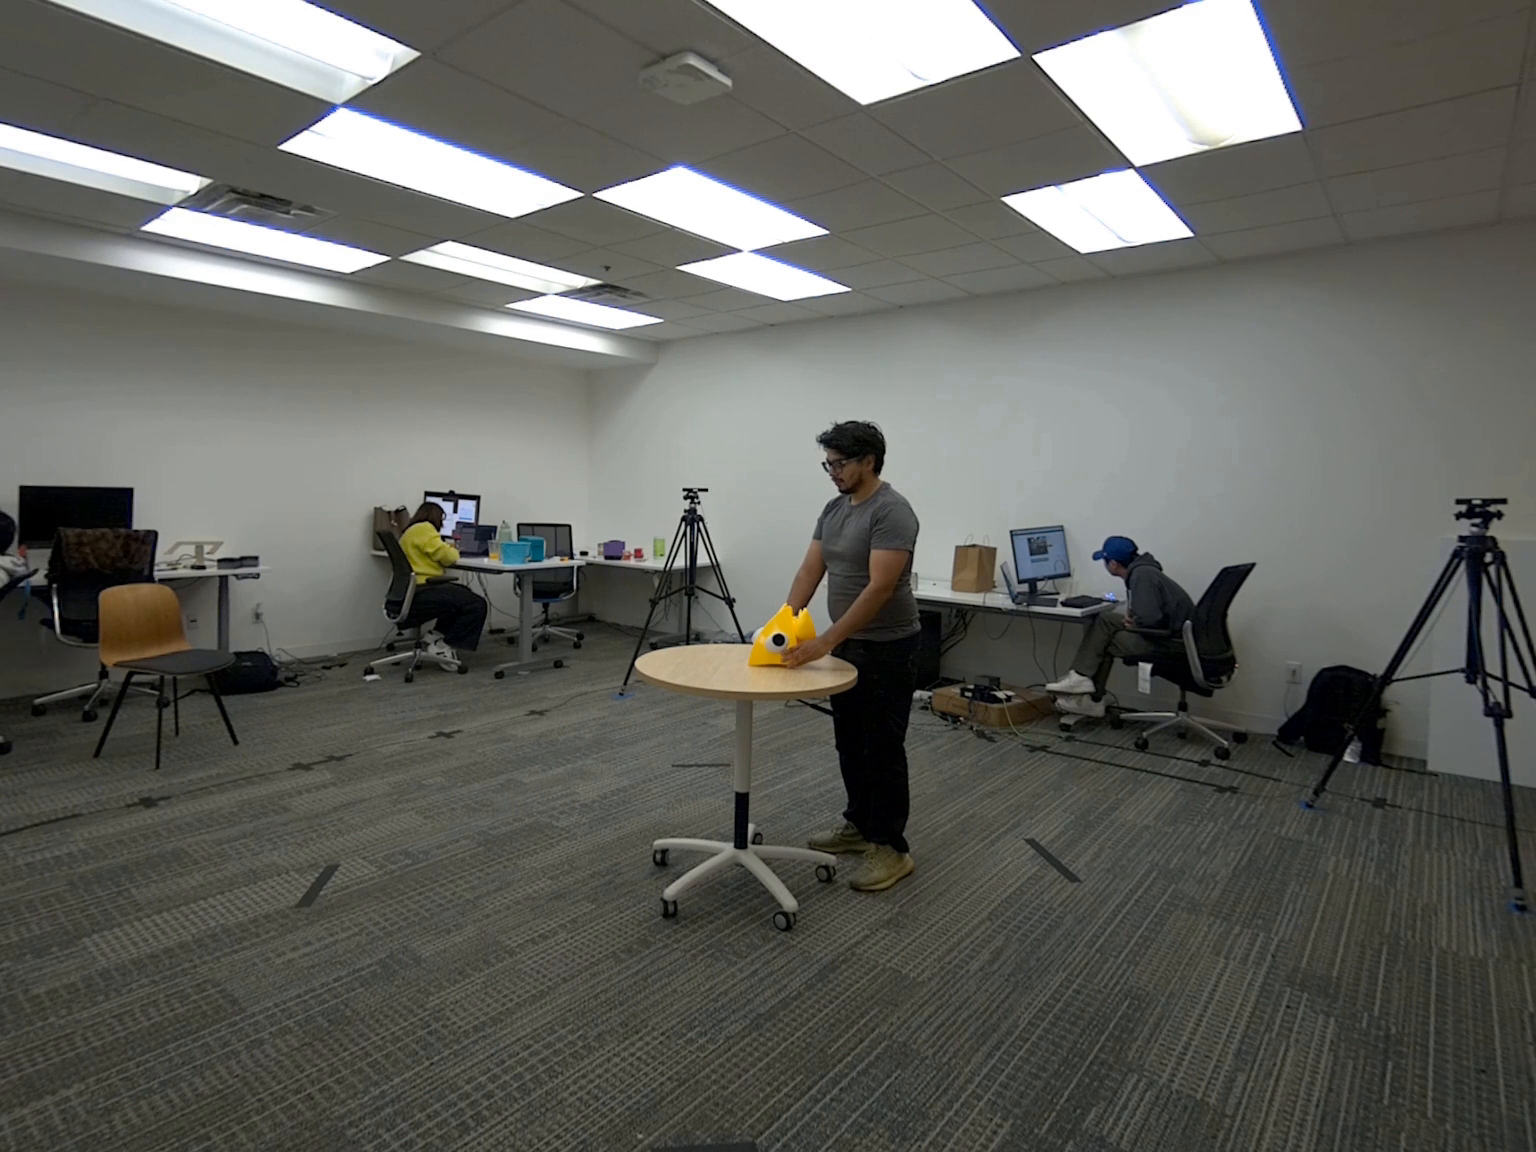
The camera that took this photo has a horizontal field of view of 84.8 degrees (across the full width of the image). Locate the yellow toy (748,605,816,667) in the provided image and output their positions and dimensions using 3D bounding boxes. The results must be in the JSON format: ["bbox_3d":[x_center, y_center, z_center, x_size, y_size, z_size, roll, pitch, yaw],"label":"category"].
[{"bbox_3d":[0.011,0.220,2.975,0.226,0.191,0.211,-16,13,-26],"label":"yellow toy"}]
